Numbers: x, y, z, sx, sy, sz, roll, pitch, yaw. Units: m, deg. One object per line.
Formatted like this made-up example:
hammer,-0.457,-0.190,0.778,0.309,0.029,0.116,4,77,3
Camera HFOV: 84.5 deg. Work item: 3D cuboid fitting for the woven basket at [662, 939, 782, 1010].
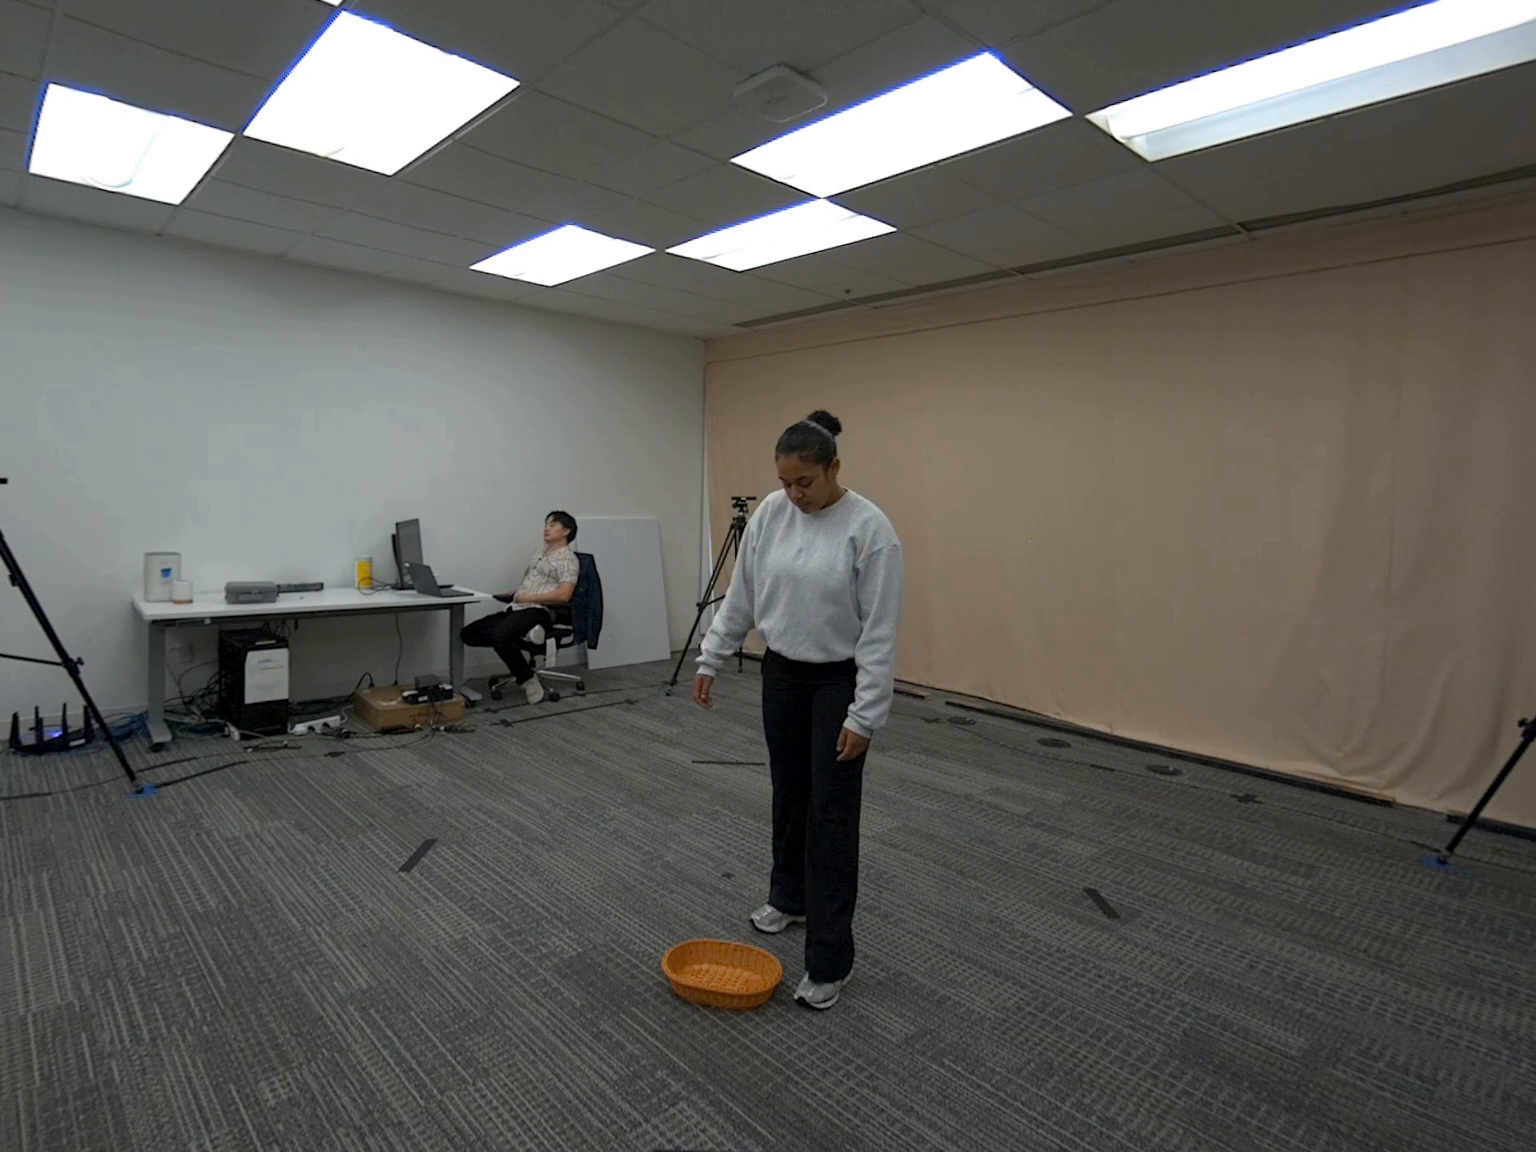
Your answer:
woven basket,-0.135,1.129,2.395,0.355,0.073,0.250,3,6,15
